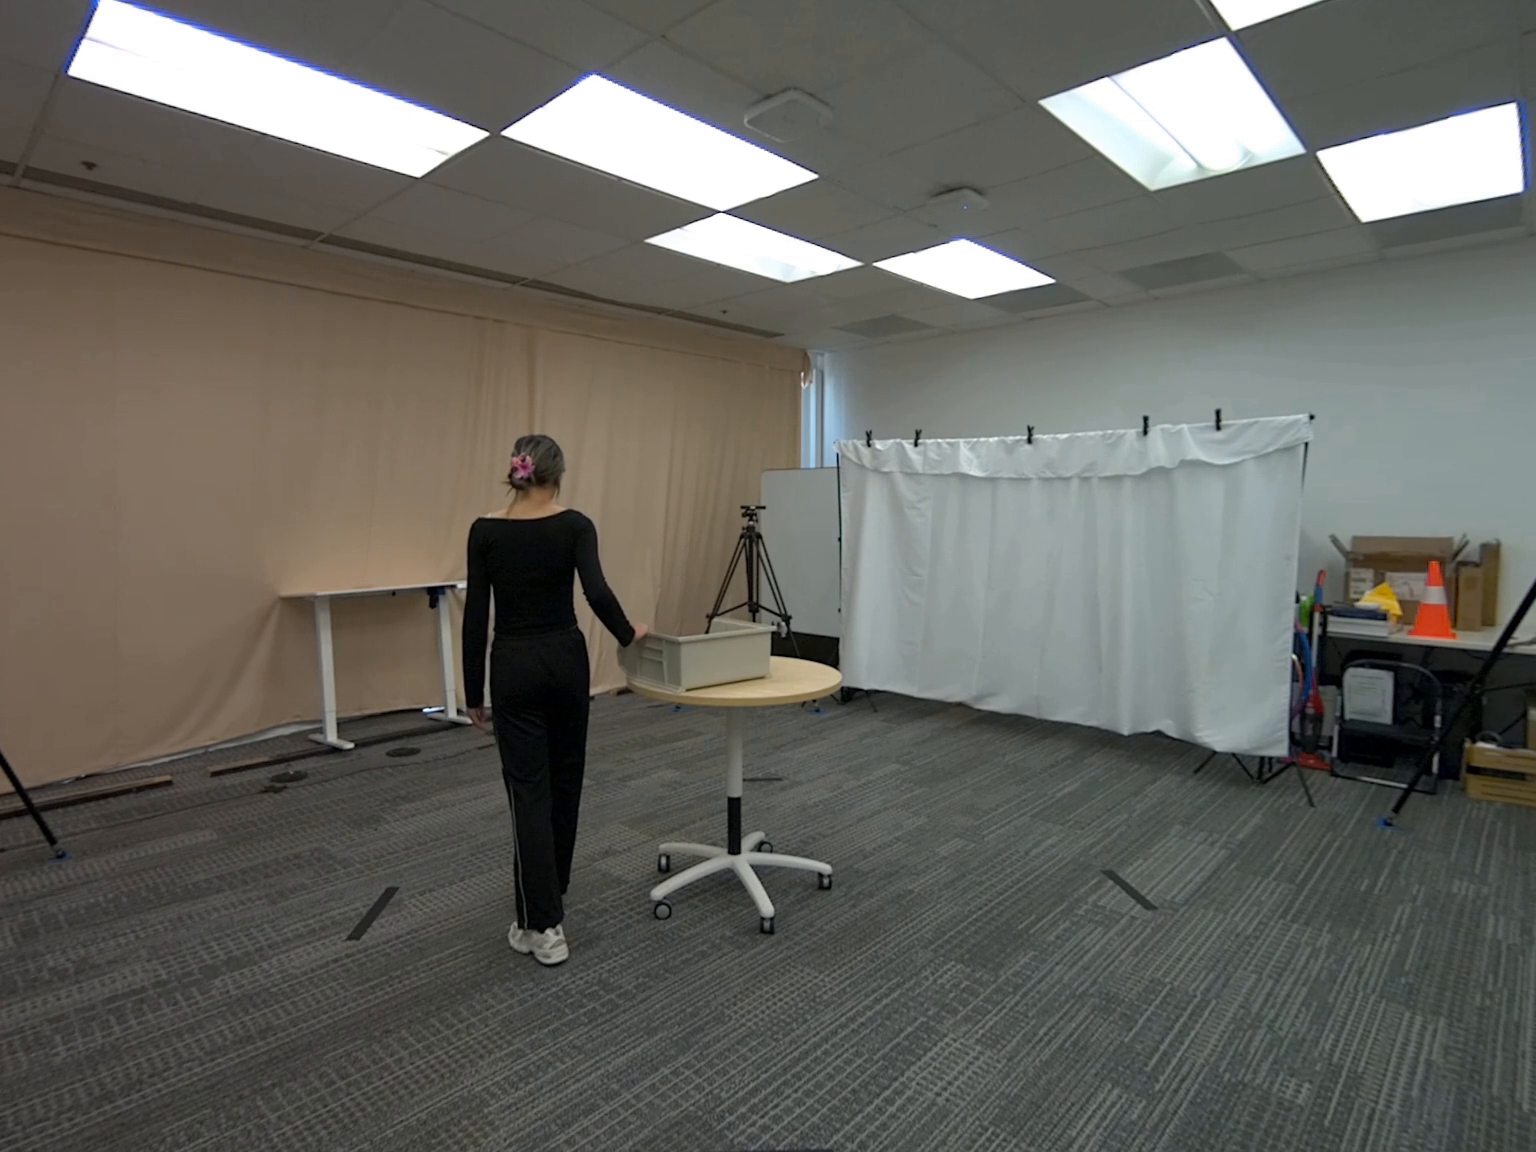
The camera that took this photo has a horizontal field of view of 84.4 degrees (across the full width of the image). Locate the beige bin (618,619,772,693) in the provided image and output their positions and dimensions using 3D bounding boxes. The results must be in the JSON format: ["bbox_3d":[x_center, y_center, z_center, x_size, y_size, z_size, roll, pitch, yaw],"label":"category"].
[{"bbox_3d":[-0.254,0.263,2.946,0.409,0.188,0.390,-2,6,-41],"label":"beige bin"}]
